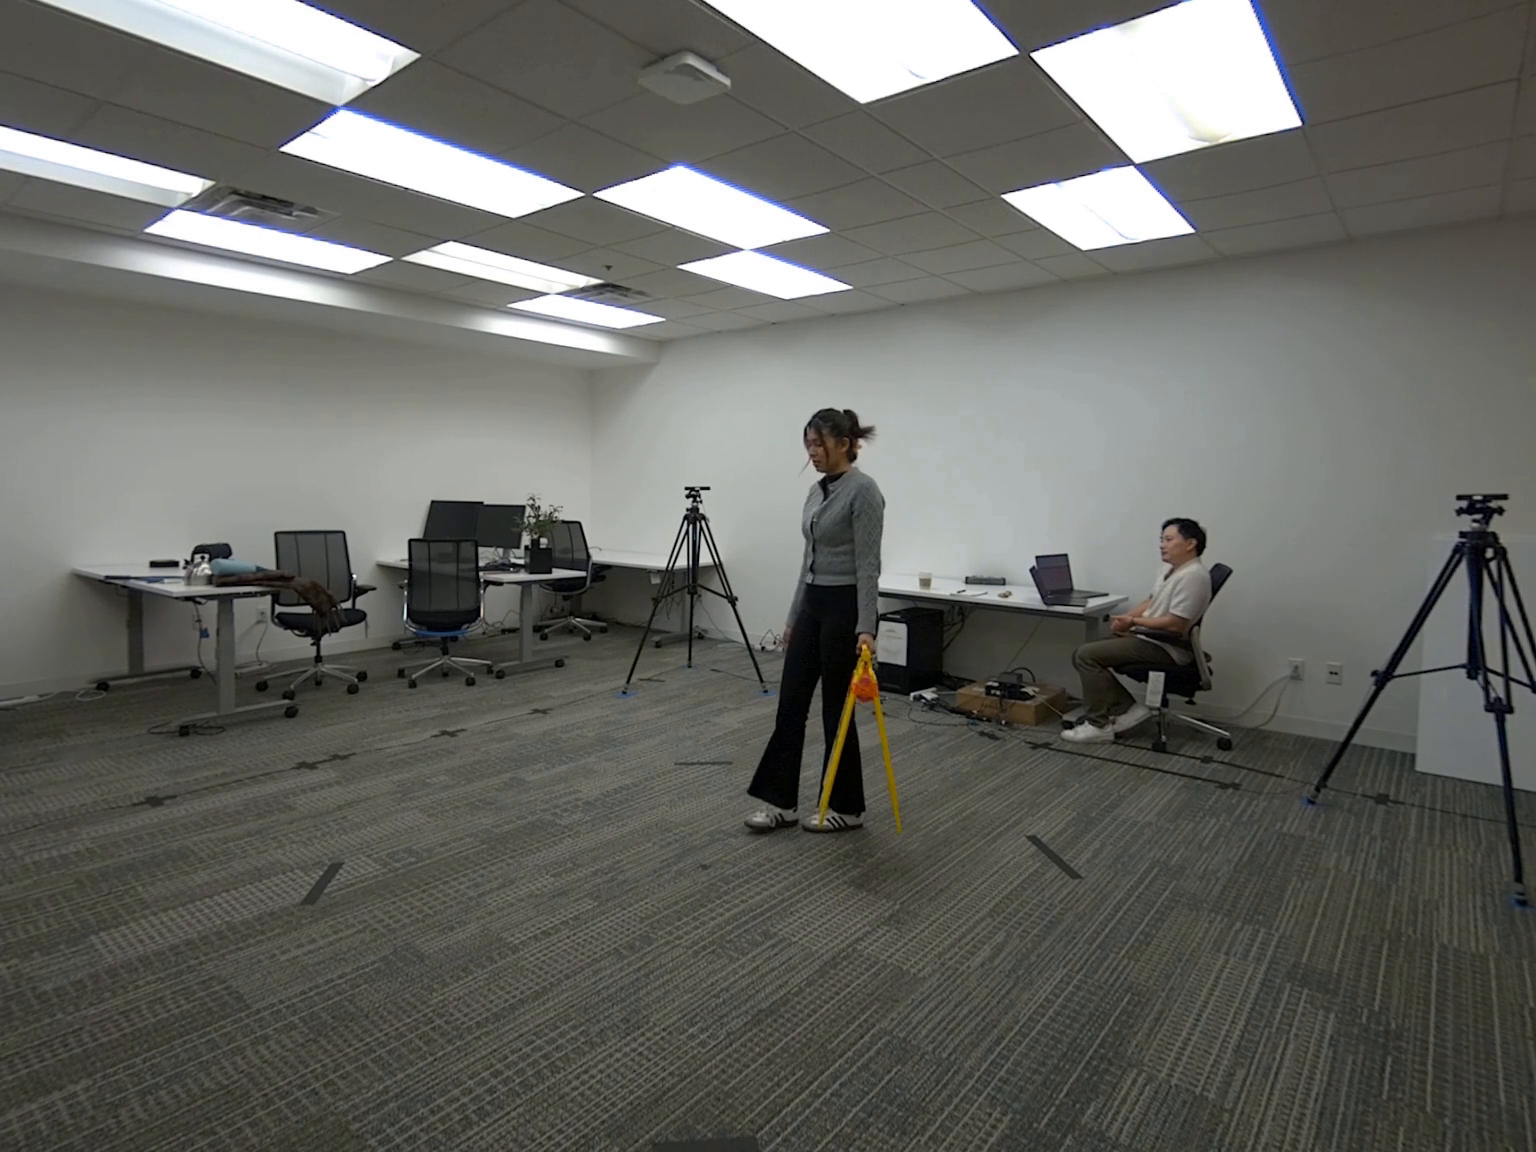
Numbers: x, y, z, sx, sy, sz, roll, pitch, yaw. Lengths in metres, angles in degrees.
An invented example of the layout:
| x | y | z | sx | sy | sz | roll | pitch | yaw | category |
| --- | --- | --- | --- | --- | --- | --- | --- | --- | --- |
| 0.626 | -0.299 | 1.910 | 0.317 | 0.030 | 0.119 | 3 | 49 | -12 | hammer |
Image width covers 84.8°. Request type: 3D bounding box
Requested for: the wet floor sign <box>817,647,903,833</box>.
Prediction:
| x | y | z | sx | sy | sz | roll | pitch | yaw | category |
| --- | --- | --- | --- | --- | --- | --- | --- | --- | --- |
| 0.343 | 0.571 | 3.146 | 0.292 | 0.646 | 0.280 | 1 | 0 | 6 | wet floor sign |
